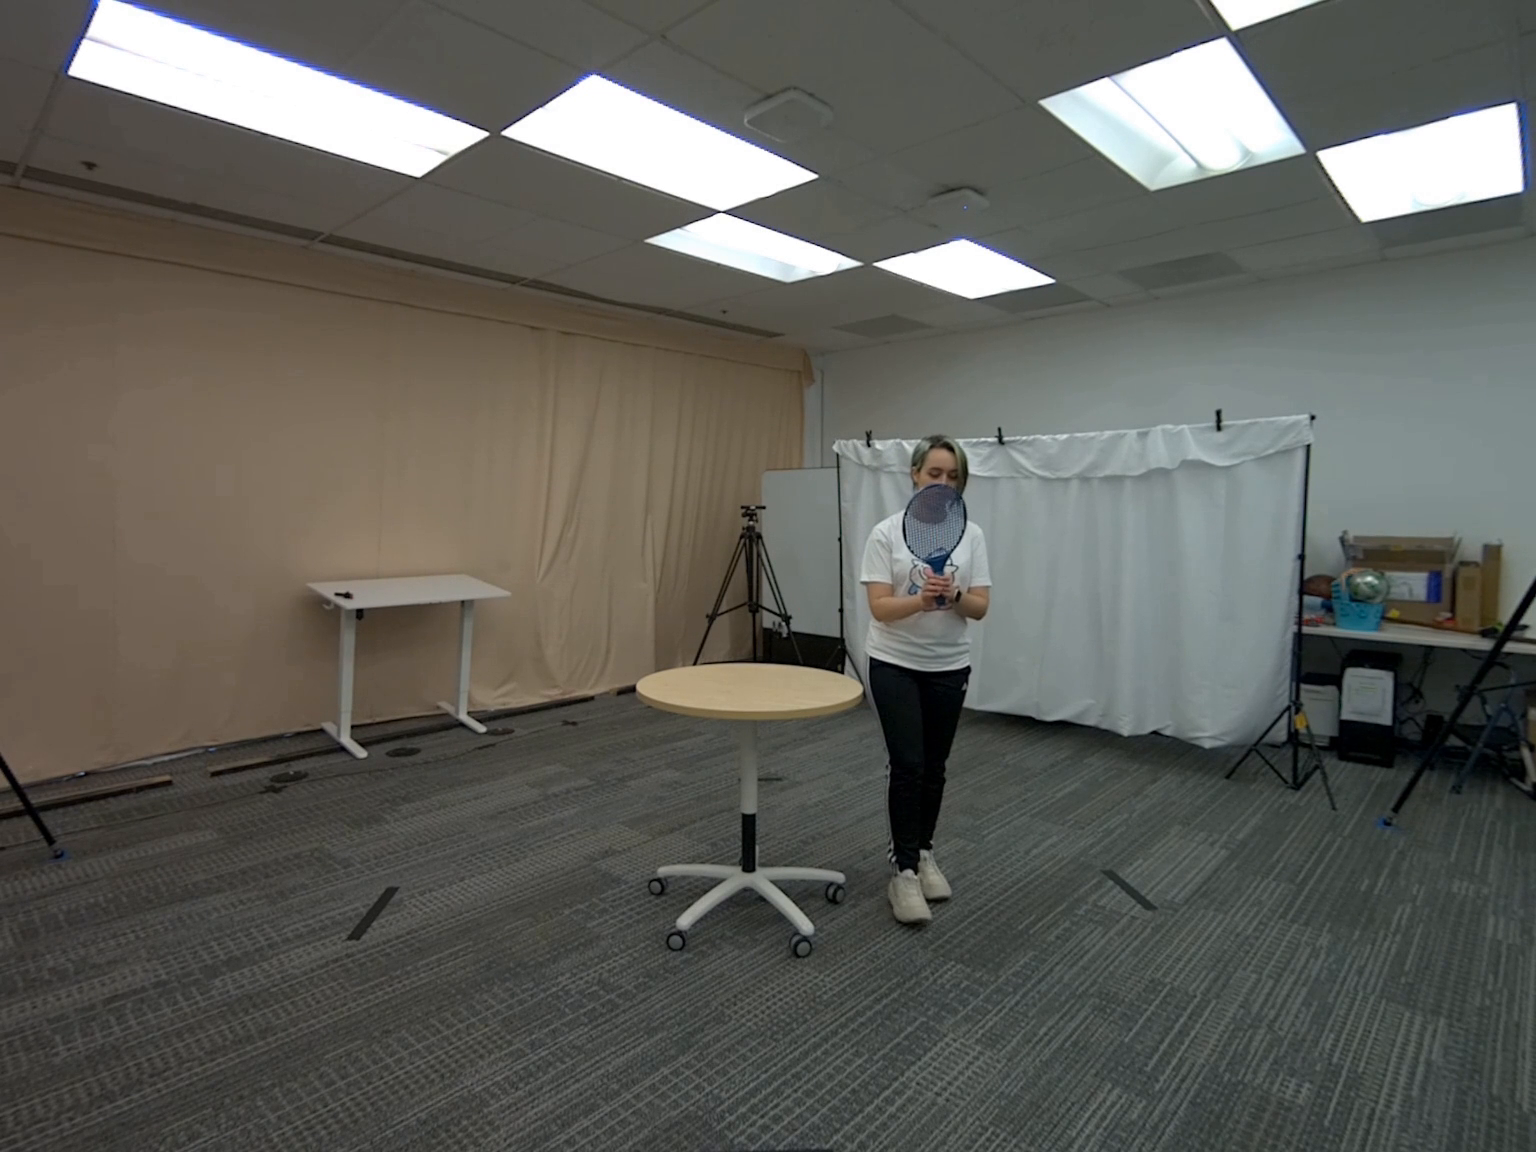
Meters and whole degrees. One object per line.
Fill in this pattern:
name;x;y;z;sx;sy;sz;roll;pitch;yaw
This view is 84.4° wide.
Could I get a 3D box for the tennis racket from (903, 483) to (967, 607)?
tennis racket;0.523;-0.091;2.632;0.212;0.424;0.032;-16;27;-7
